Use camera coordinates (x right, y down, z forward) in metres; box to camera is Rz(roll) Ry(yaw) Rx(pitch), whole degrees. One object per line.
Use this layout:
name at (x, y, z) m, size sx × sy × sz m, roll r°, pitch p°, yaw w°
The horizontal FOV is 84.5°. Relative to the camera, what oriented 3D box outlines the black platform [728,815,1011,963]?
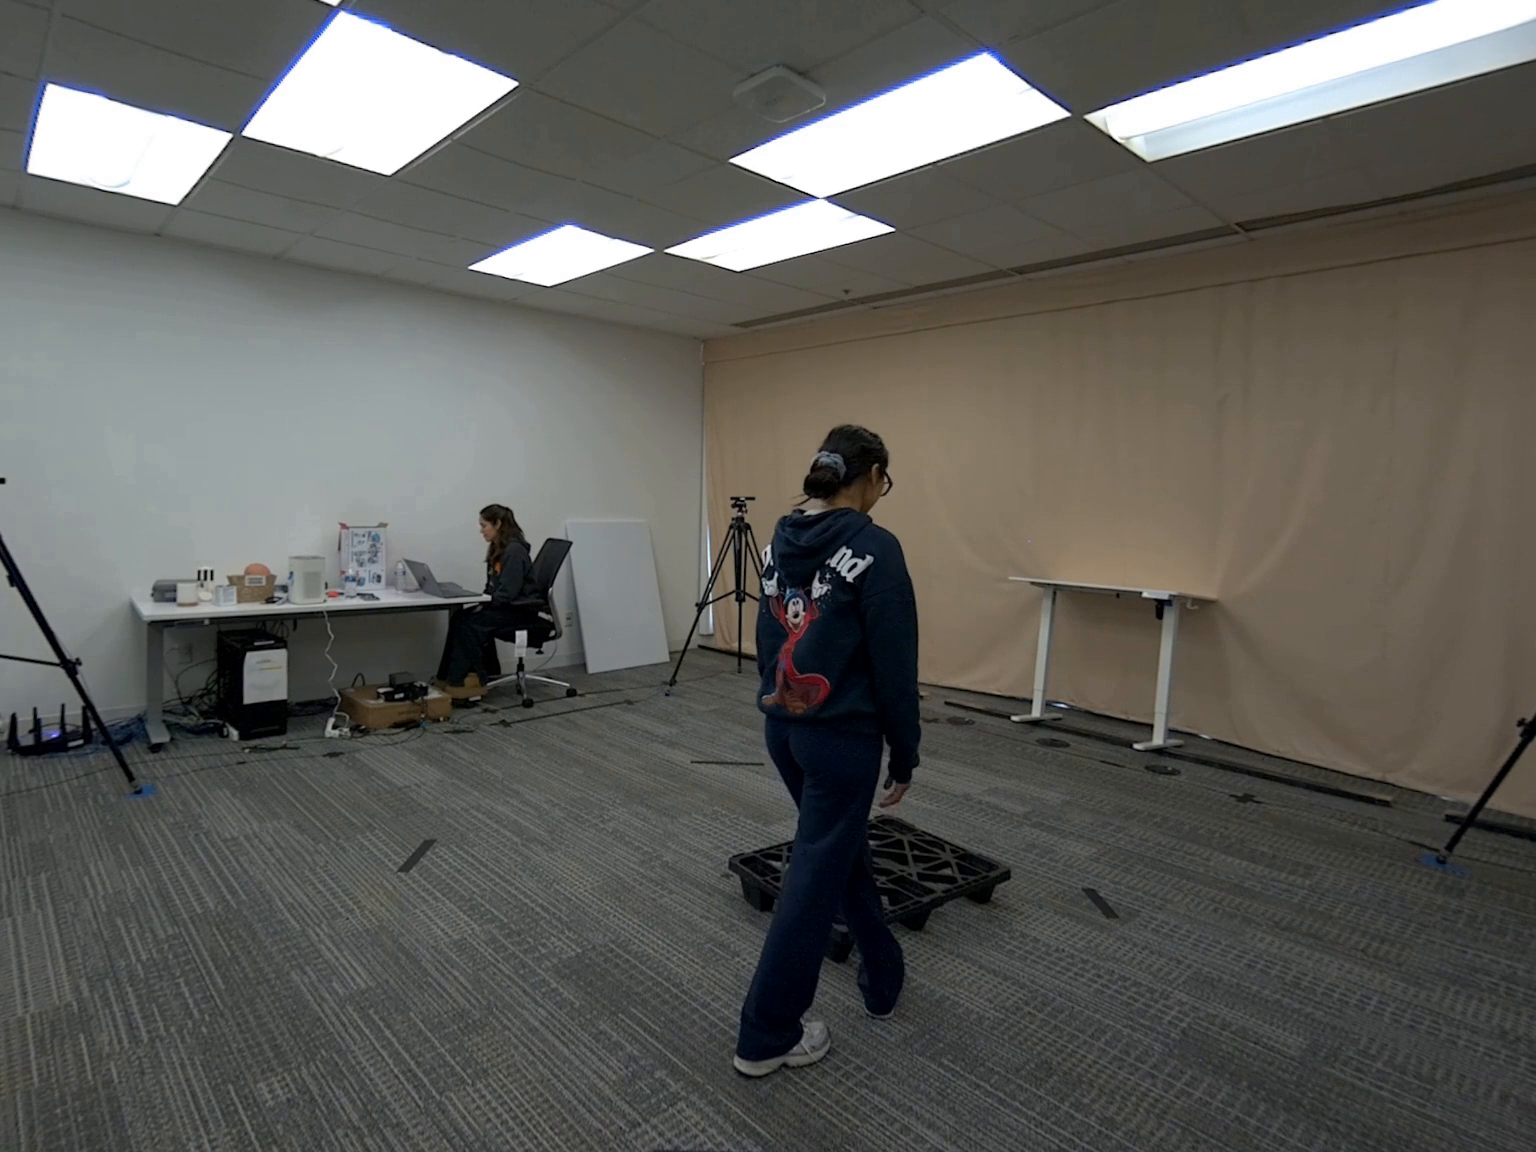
black platform at (0.341, 1.065, 2.935) m, size 0.788 × 0.143 × 0.620 m, roll -2°, pitch 6°, yaw -37°
